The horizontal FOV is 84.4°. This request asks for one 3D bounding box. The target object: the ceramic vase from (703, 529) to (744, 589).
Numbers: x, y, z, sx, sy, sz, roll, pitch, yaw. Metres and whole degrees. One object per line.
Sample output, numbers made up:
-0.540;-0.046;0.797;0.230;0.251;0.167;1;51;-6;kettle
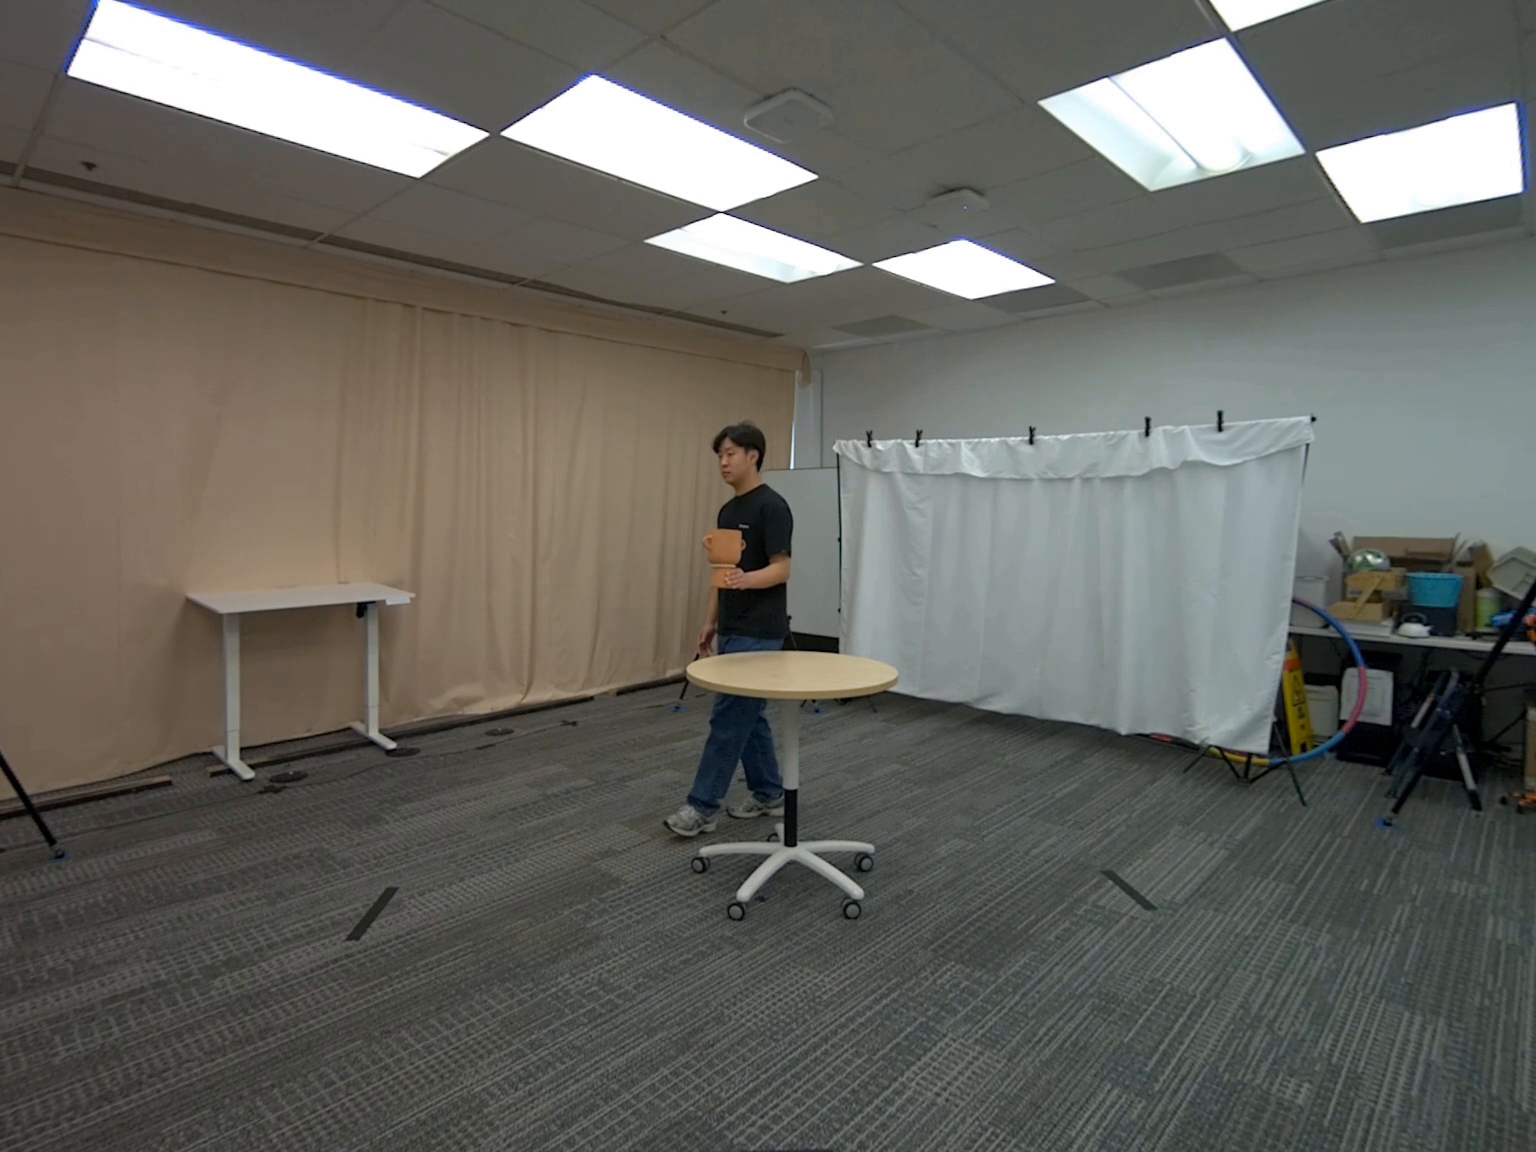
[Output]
-0.176;-0.065;3.270;0.160;0.220;0.133;-1;-3;7;ceramic vase
